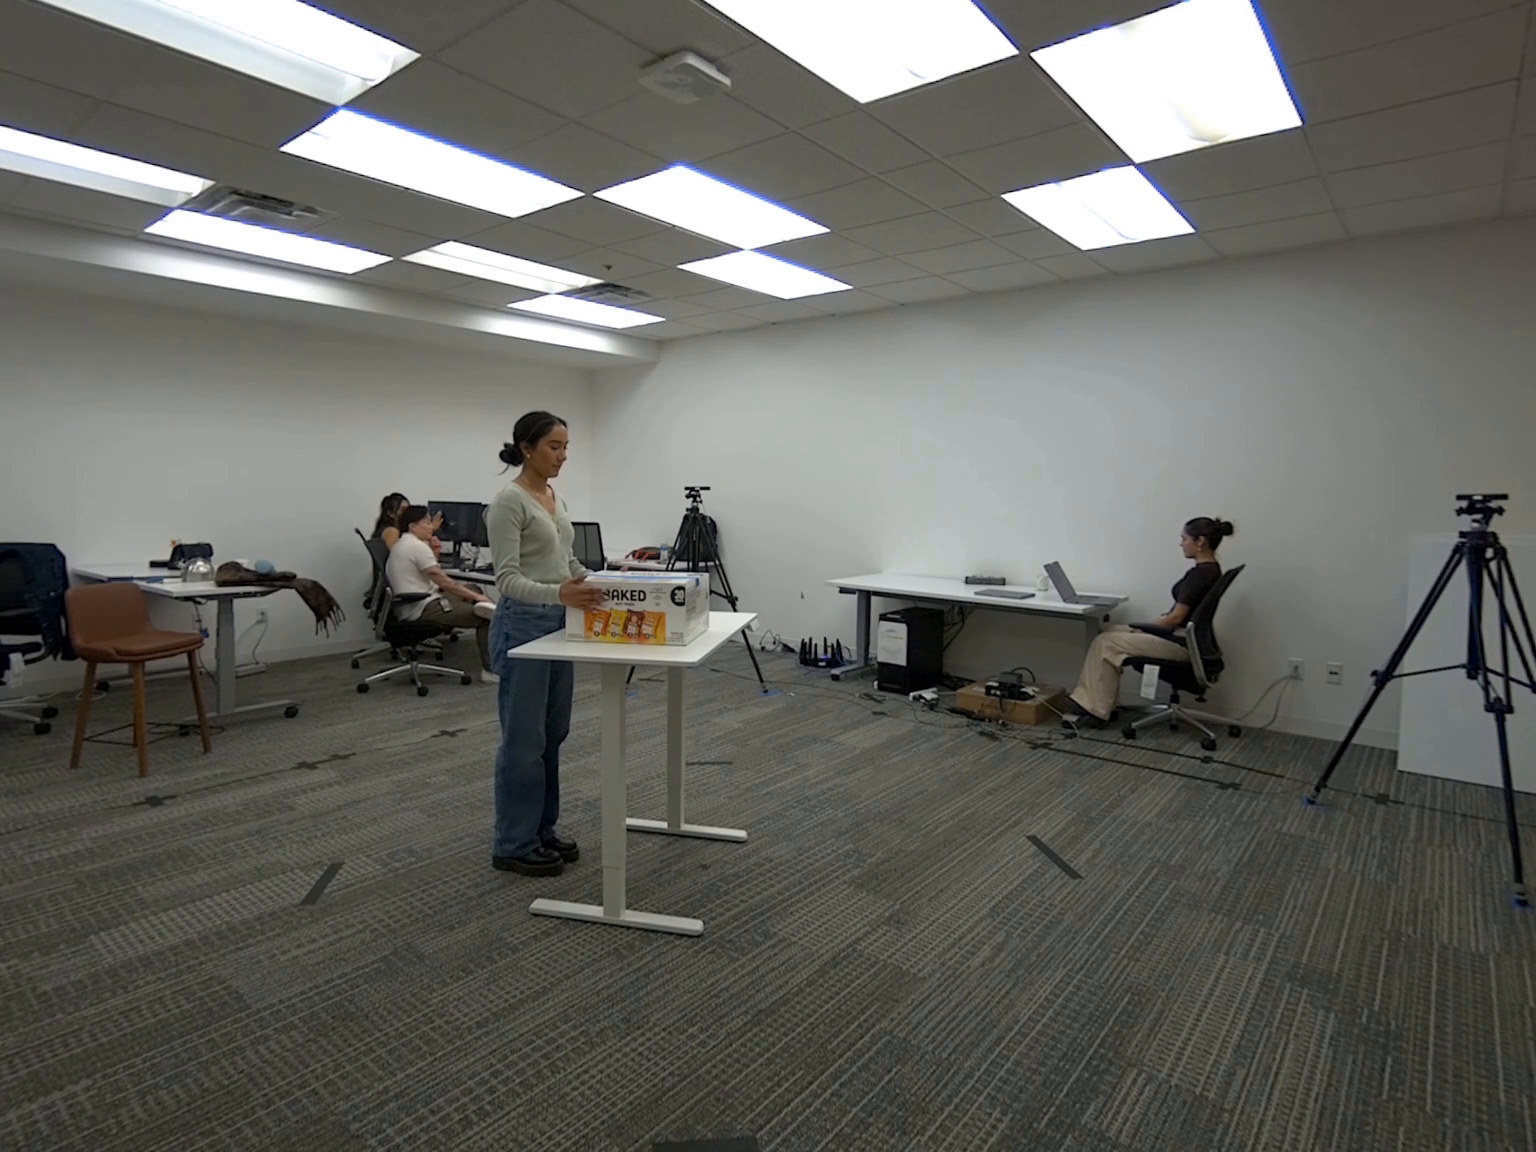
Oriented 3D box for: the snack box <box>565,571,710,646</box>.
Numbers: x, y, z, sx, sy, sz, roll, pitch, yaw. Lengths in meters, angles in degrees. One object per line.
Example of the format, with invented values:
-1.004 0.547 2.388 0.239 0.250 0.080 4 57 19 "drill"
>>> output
-0.441 0.100 2.906 0.410 0.205 0.337 1 6 11 "snack box"
